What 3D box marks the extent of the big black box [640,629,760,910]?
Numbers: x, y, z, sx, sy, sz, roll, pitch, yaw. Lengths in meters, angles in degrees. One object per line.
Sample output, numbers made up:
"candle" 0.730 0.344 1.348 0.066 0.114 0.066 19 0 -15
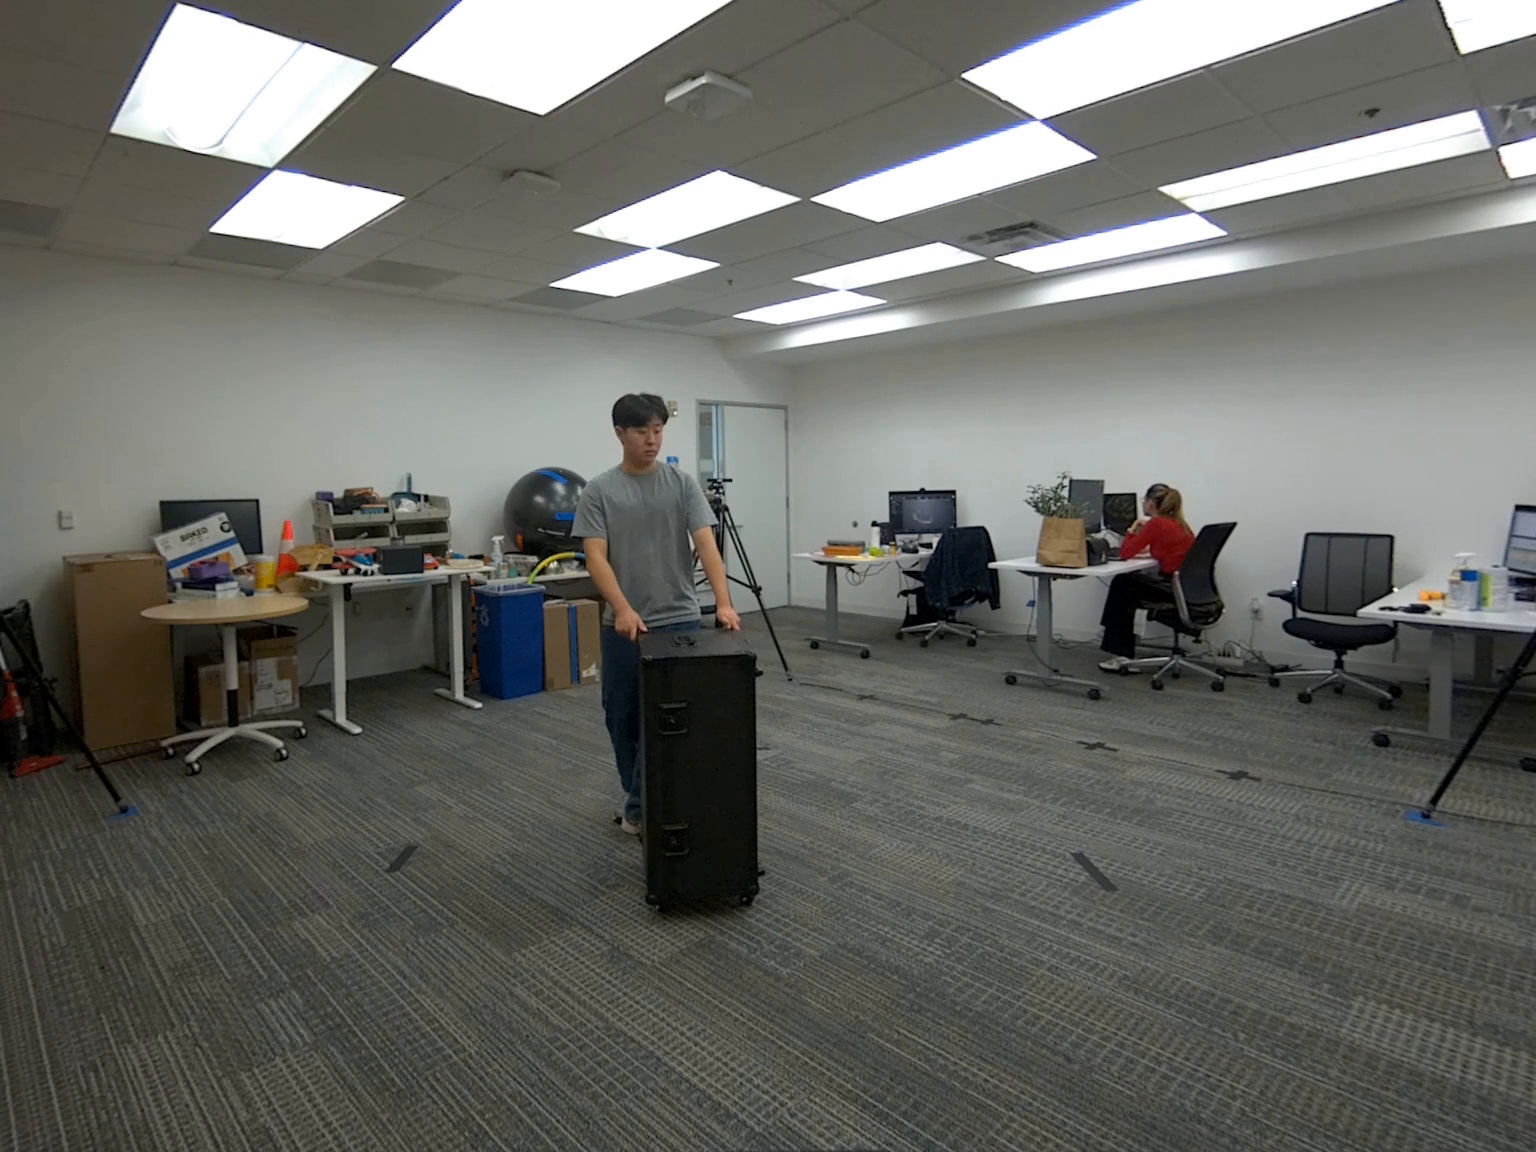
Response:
"big black box" -0.236 0.645 2.918 0.393 0.859 0.528 0 4 -10
